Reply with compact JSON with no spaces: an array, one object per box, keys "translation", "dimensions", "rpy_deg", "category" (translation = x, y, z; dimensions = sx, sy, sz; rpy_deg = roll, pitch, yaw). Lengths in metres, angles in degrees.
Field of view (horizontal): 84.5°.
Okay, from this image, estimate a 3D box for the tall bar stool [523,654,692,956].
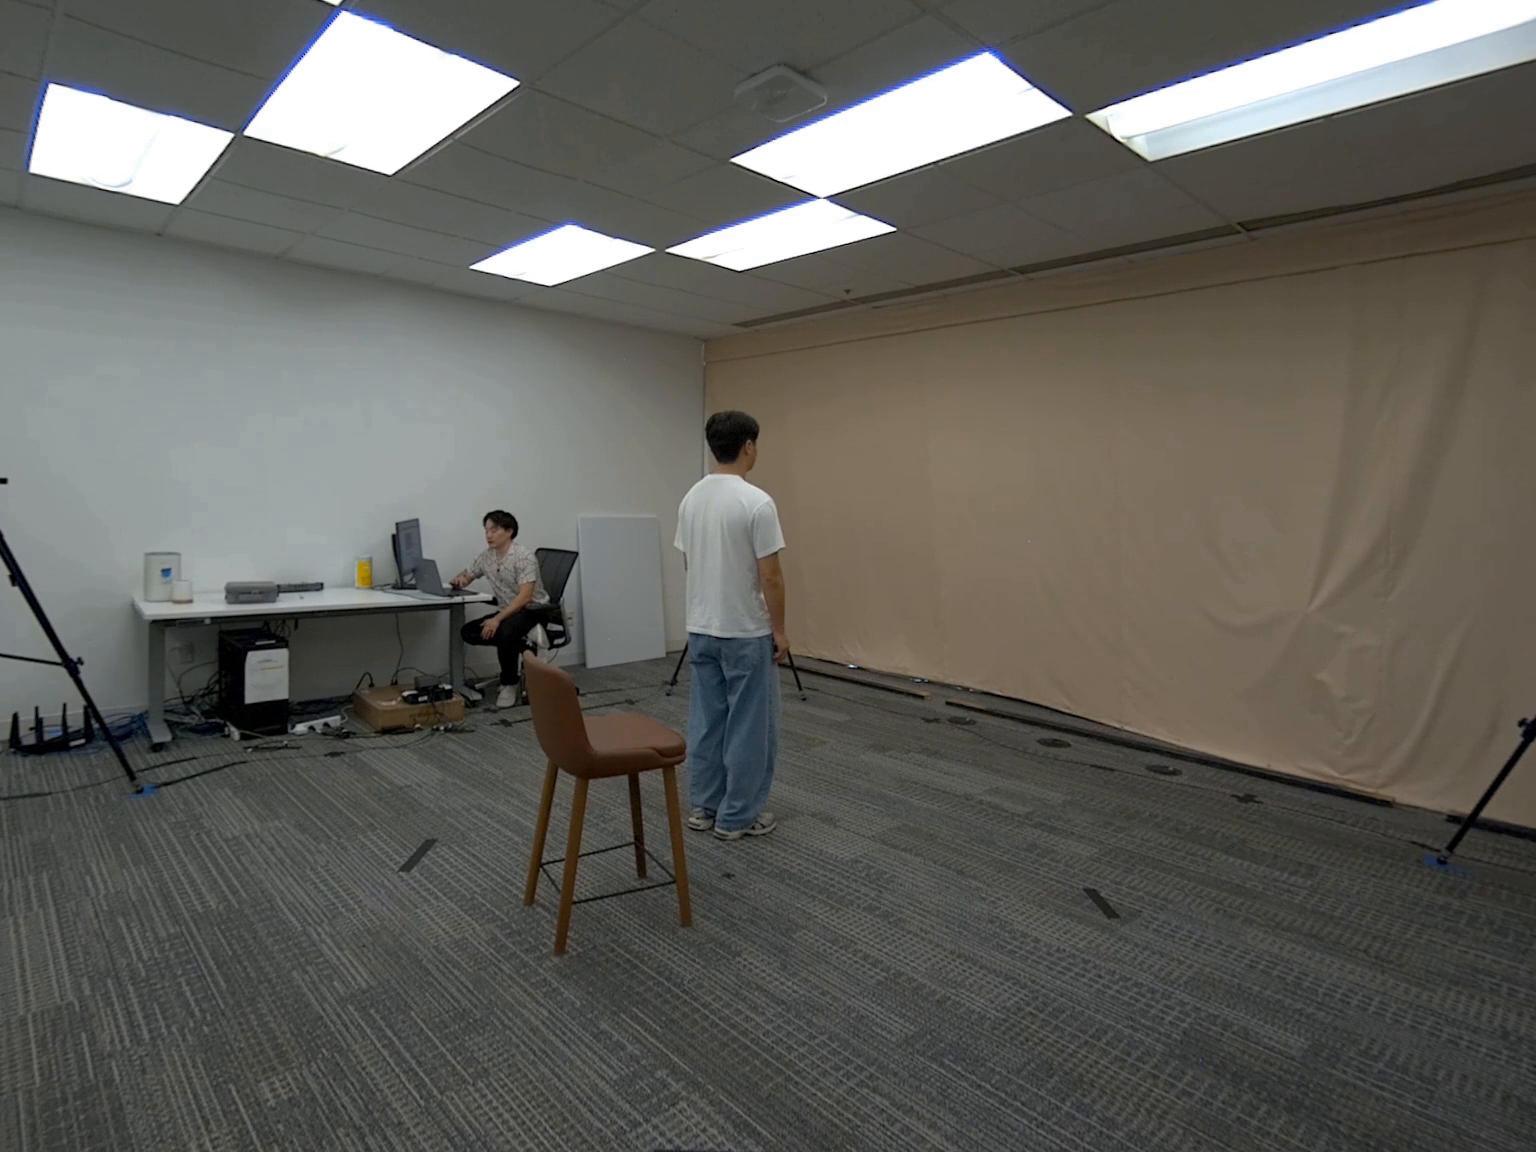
[{"translation":[-0.543,0.691,2.775],"dimensions":[0.458,0.887,0.467],"rpy_deg":[-3,5,-31],"category":"tall bar stool"}]
